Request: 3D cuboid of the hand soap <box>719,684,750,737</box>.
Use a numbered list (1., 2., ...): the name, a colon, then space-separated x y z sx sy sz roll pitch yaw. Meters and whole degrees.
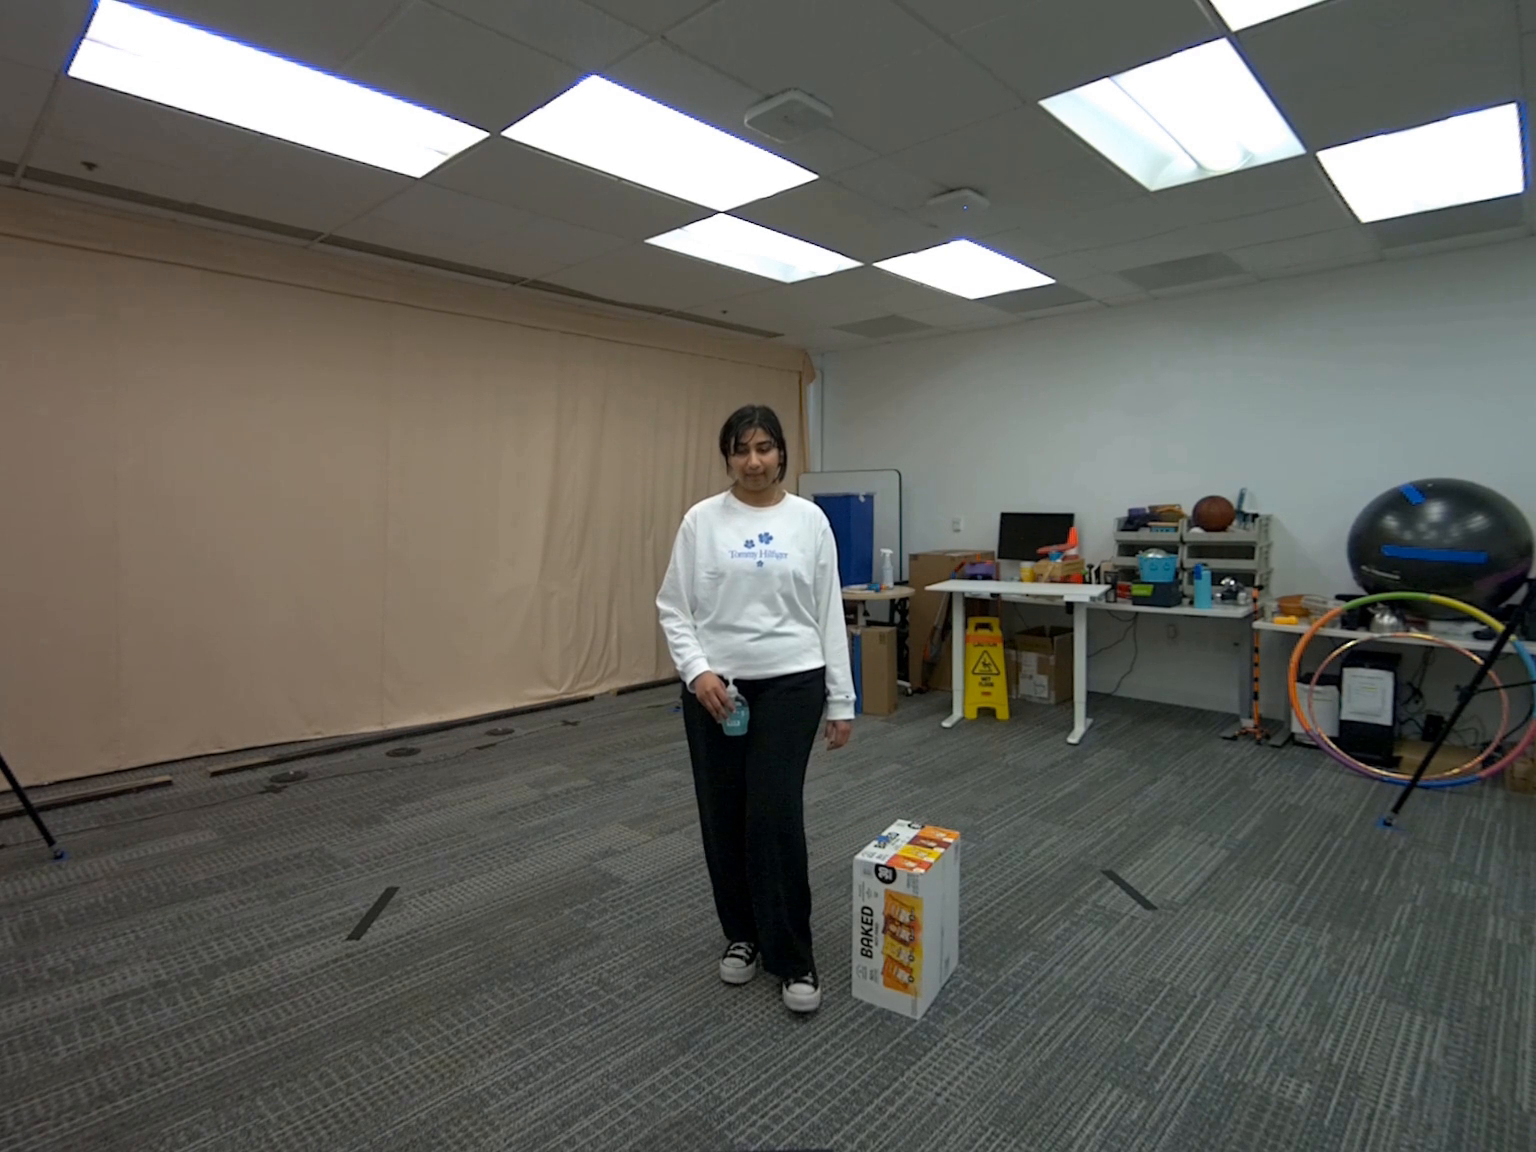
1. hand soap: -0.087 0.357 2.327 0.084 0.167 0.044 -3 6 -6
